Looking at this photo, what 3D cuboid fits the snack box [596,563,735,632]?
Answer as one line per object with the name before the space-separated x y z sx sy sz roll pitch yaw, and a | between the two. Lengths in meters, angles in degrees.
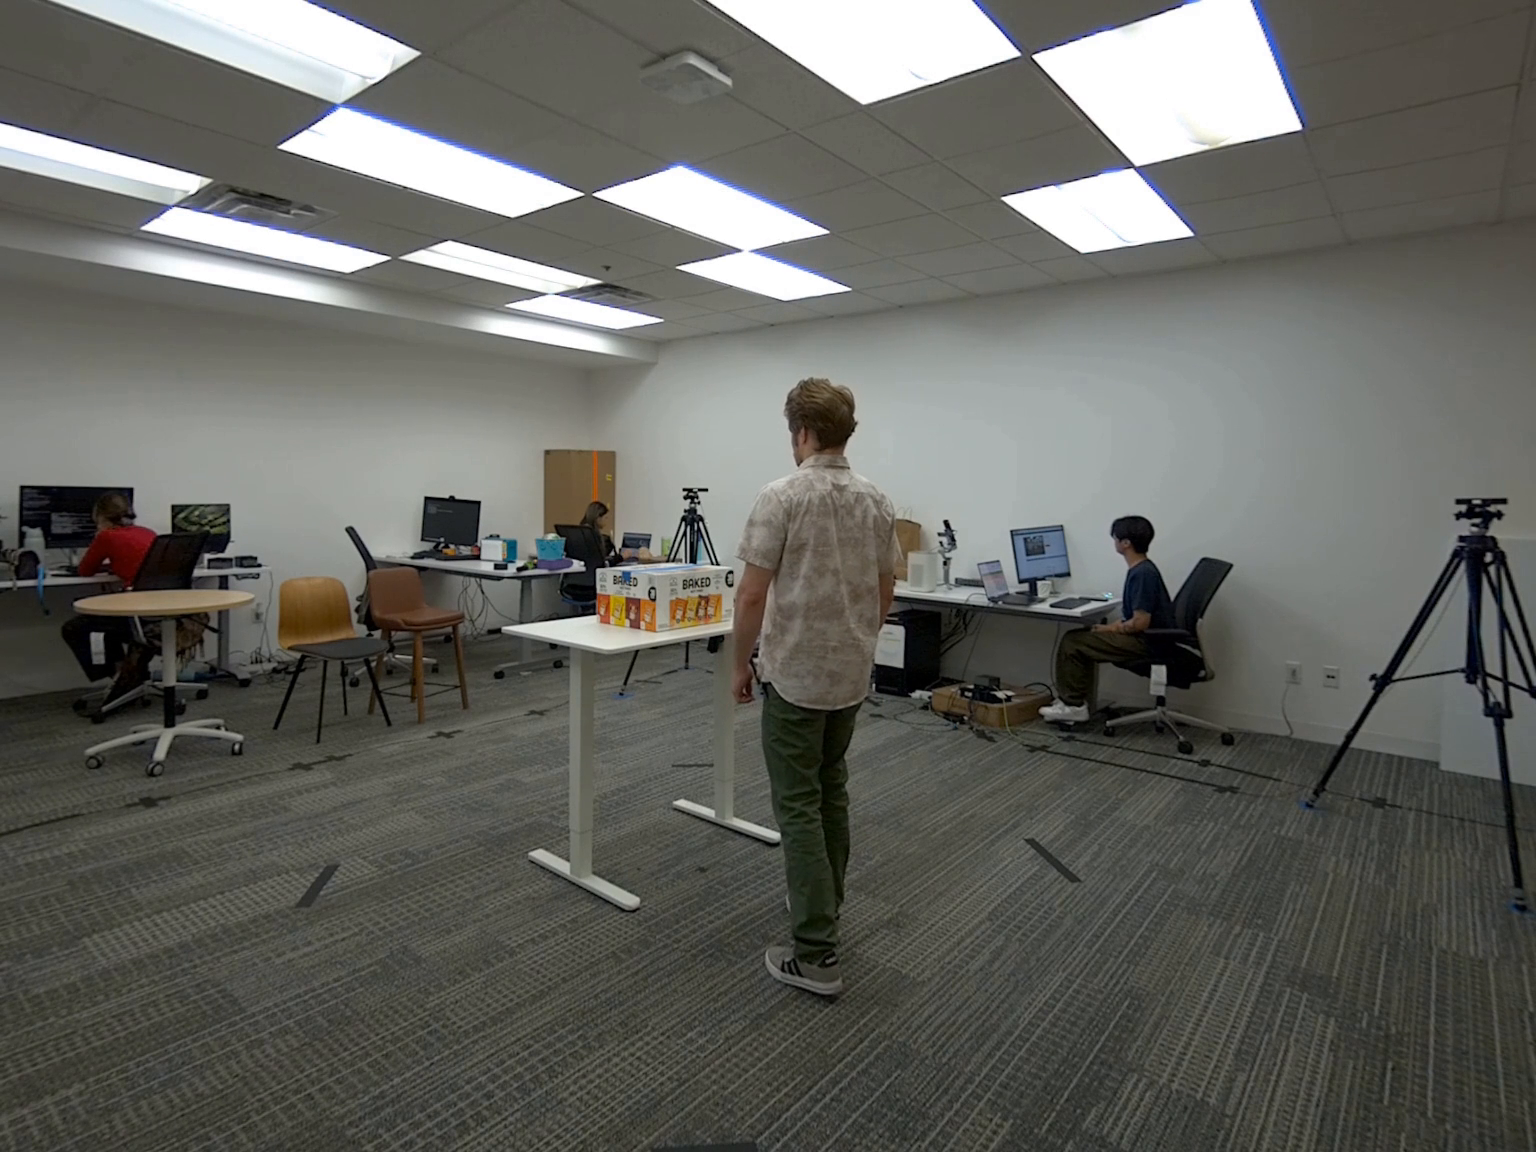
snack box | -0.401 0.069 3.232 0.352 0.205 0.393 5 7 41
